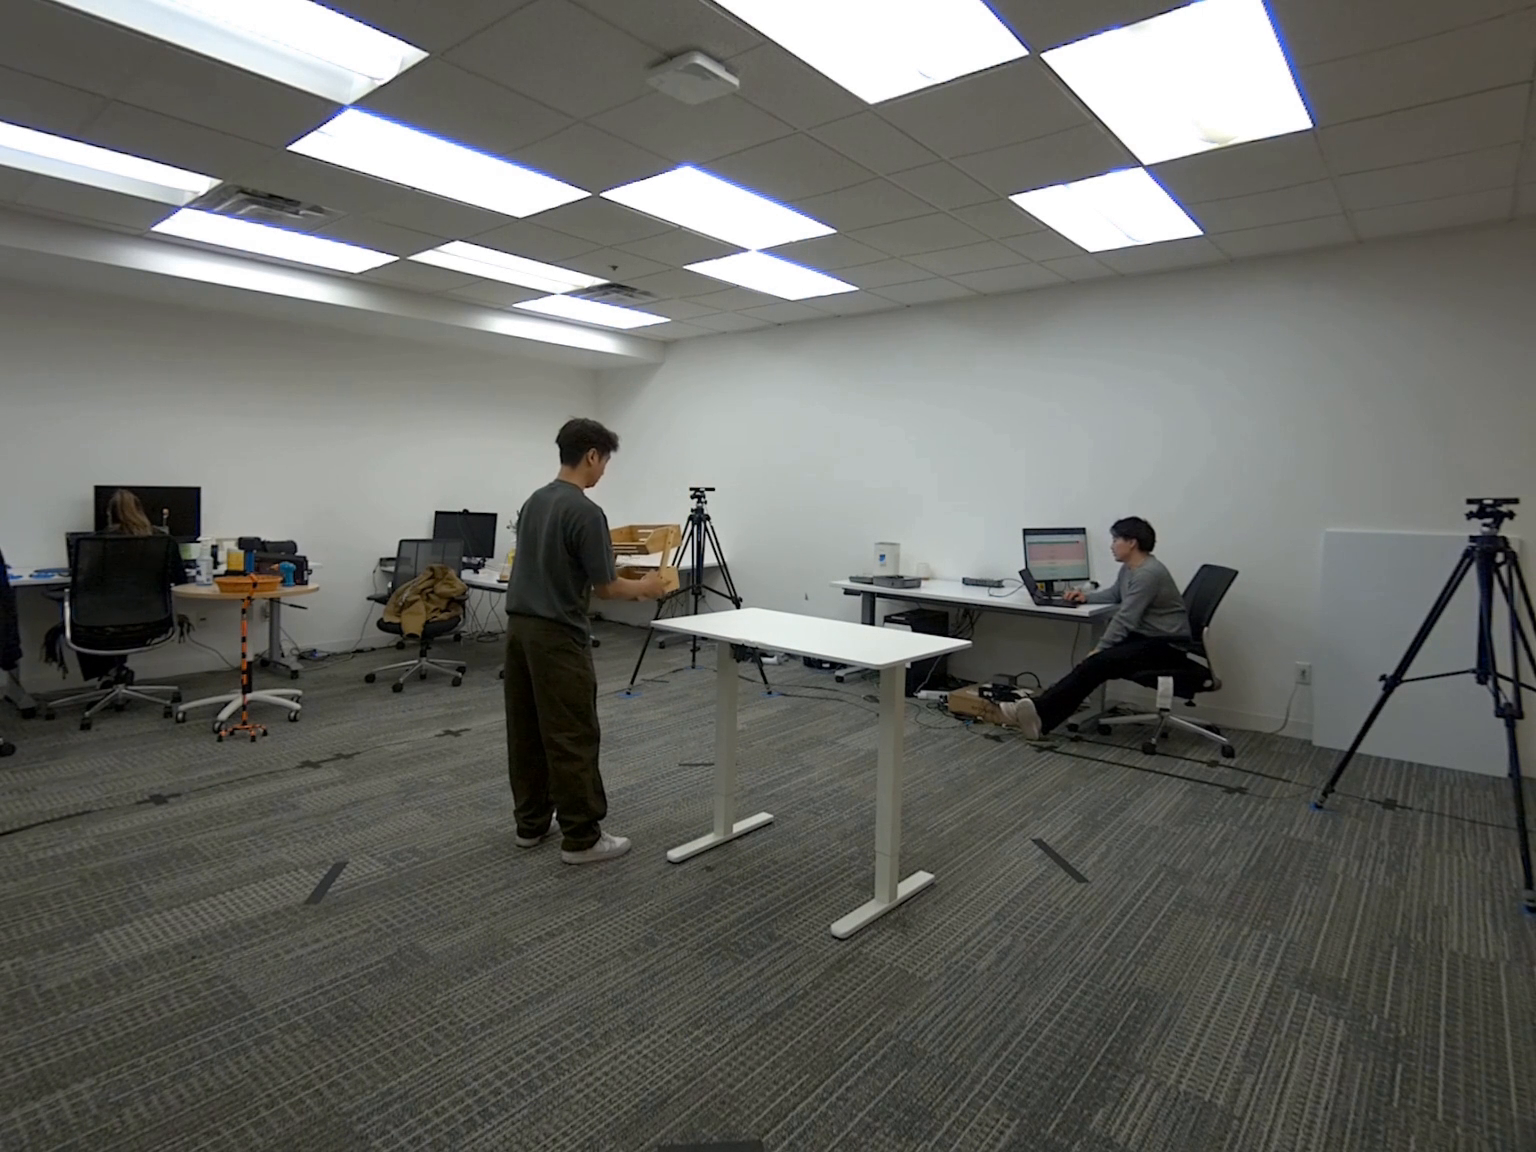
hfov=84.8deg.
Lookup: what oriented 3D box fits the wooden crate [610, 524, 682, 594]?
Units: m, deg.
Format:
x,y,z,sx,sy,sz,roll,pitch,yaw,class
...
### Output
x,y,z,sx,sy,sz,roll,pitch,yaw,class
-0.573,-0.066,3.506,0.335,0.271,0.295,2,12,40,wooden crate
